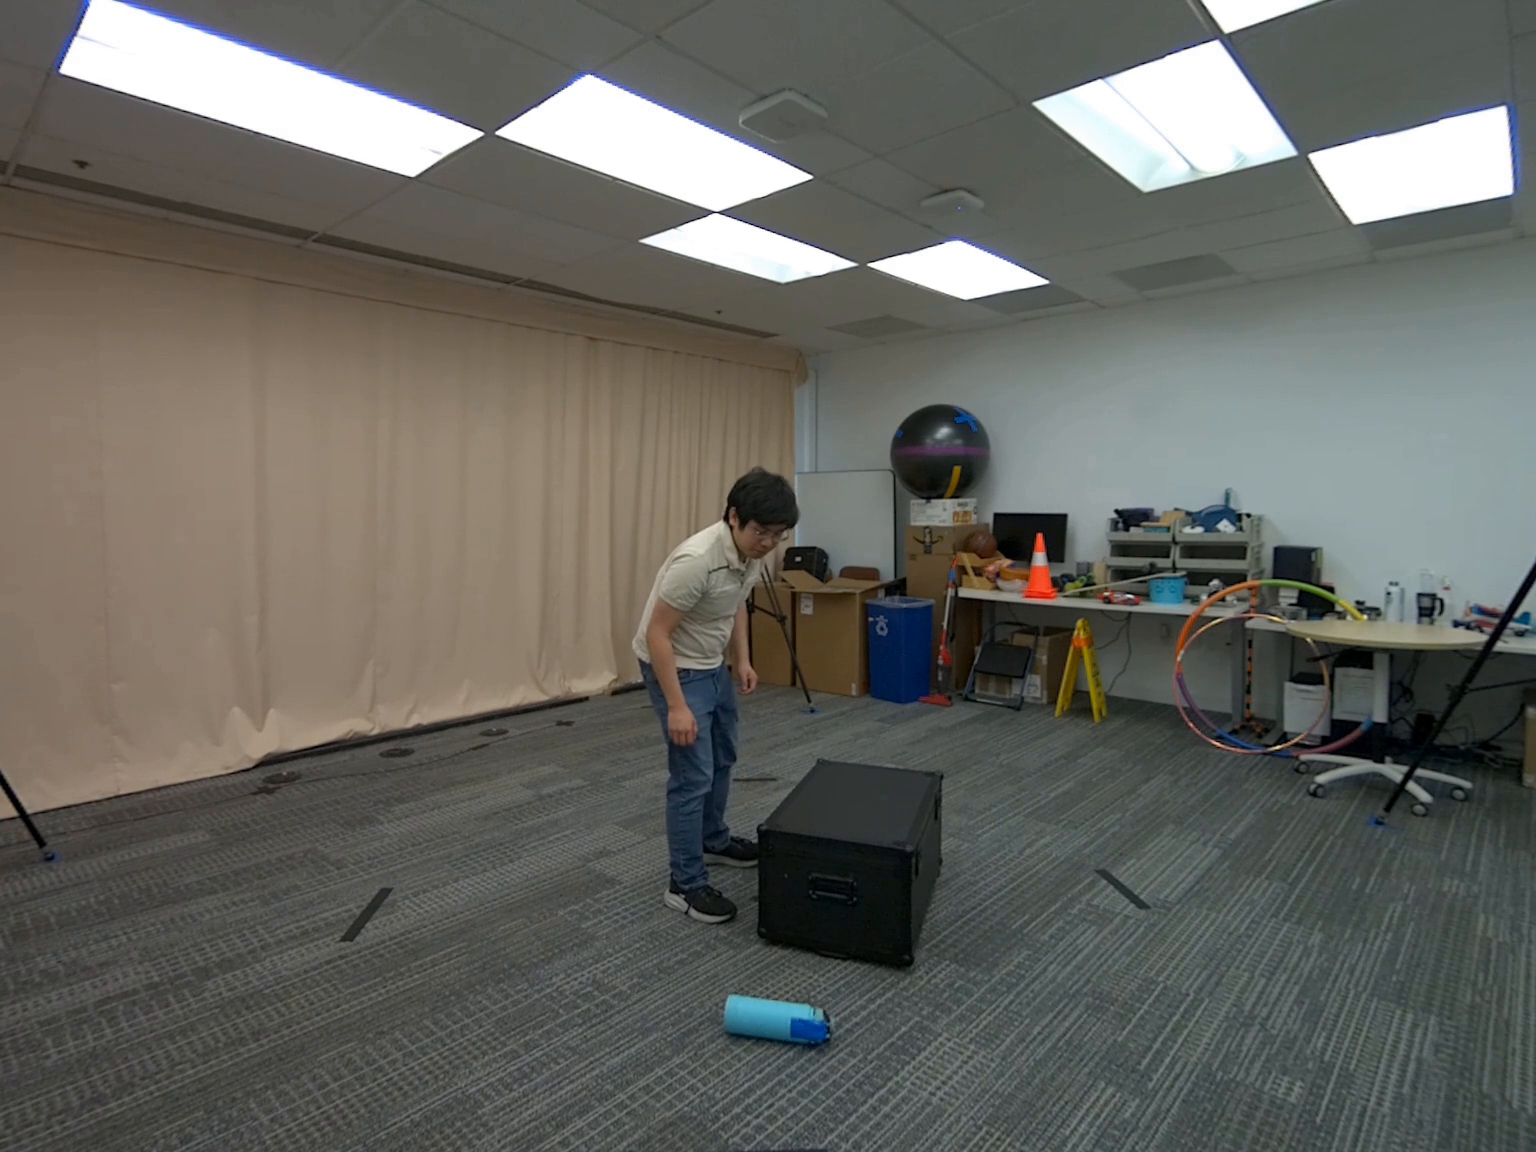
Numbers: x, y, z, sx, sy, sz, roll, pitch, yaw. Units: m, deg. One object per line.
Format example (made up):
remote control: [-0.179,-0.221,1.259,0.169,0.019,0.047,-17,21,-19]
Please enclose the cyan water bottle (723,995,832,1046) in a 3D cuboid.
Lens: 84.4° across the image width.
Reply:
cyan water bottle: [0.033,1.157,2.210,0.287,0.092,0.091,4,4,13]
